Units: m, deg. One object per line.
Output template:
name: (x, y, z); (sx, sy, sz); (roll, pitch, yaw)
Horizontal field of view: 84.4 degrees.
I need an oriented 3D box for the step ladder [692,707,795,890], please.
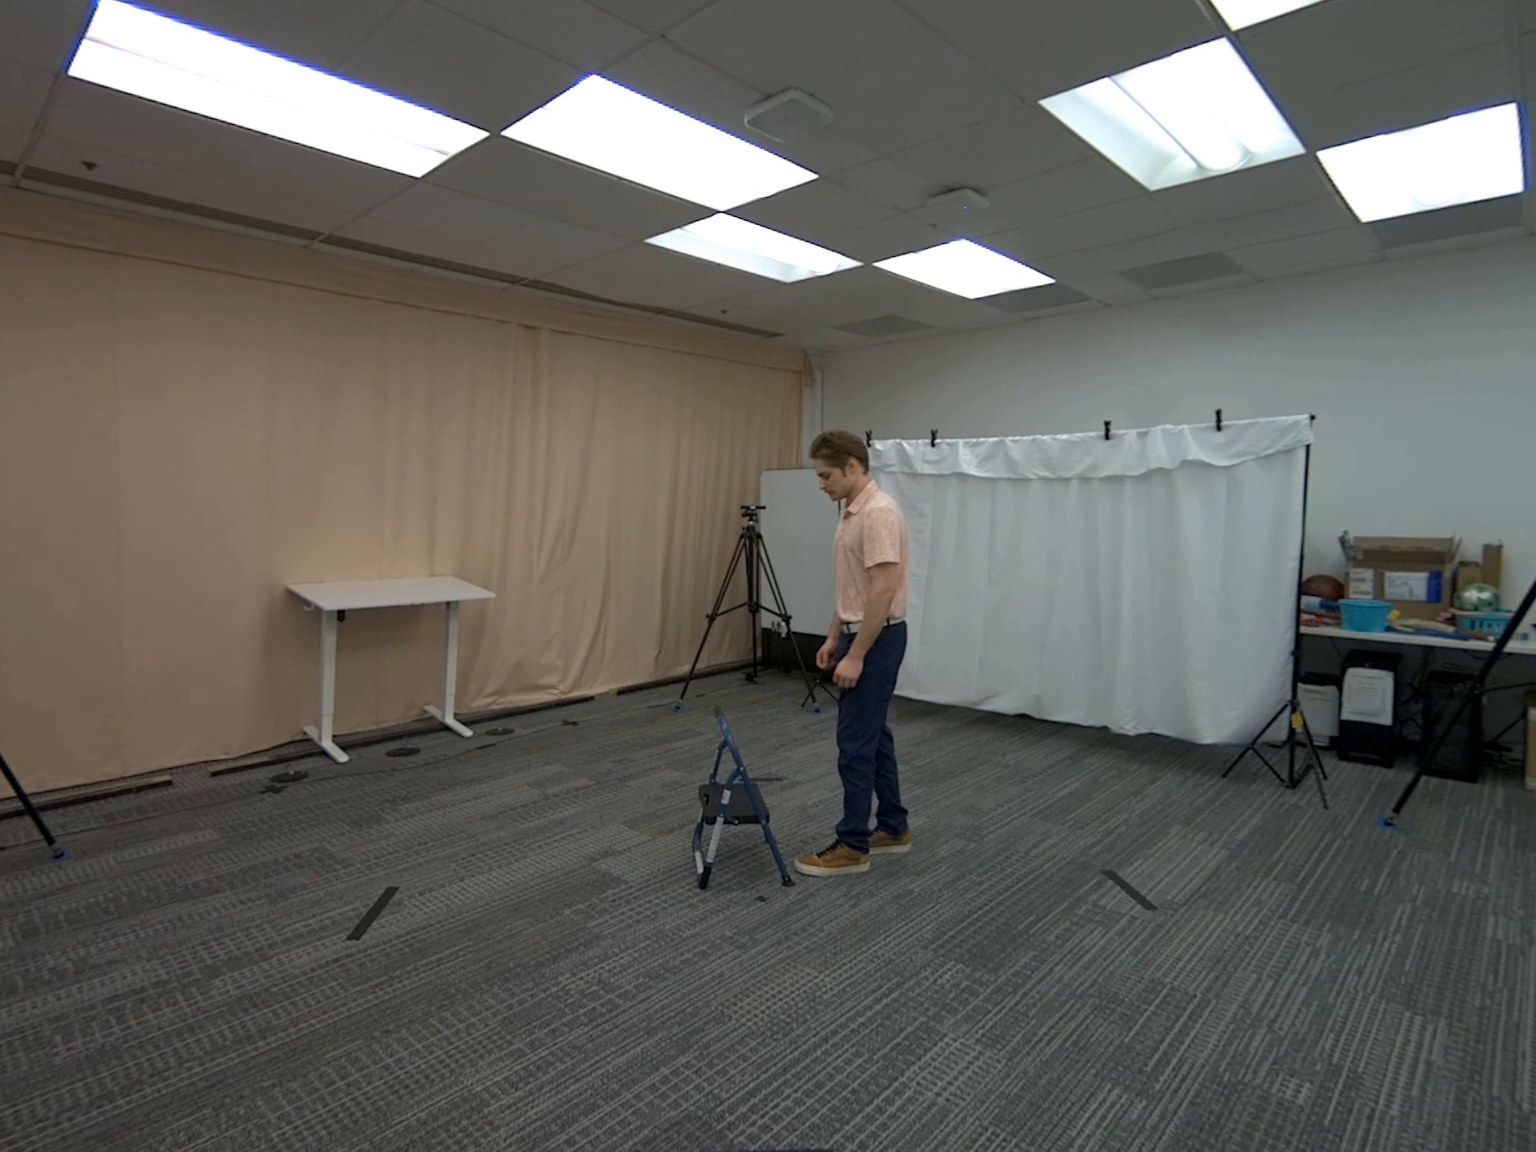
step ladder: (-0.112, 0.824, 3.259); (0.346, 0.605, 0.435); (-1, 3, -9)
